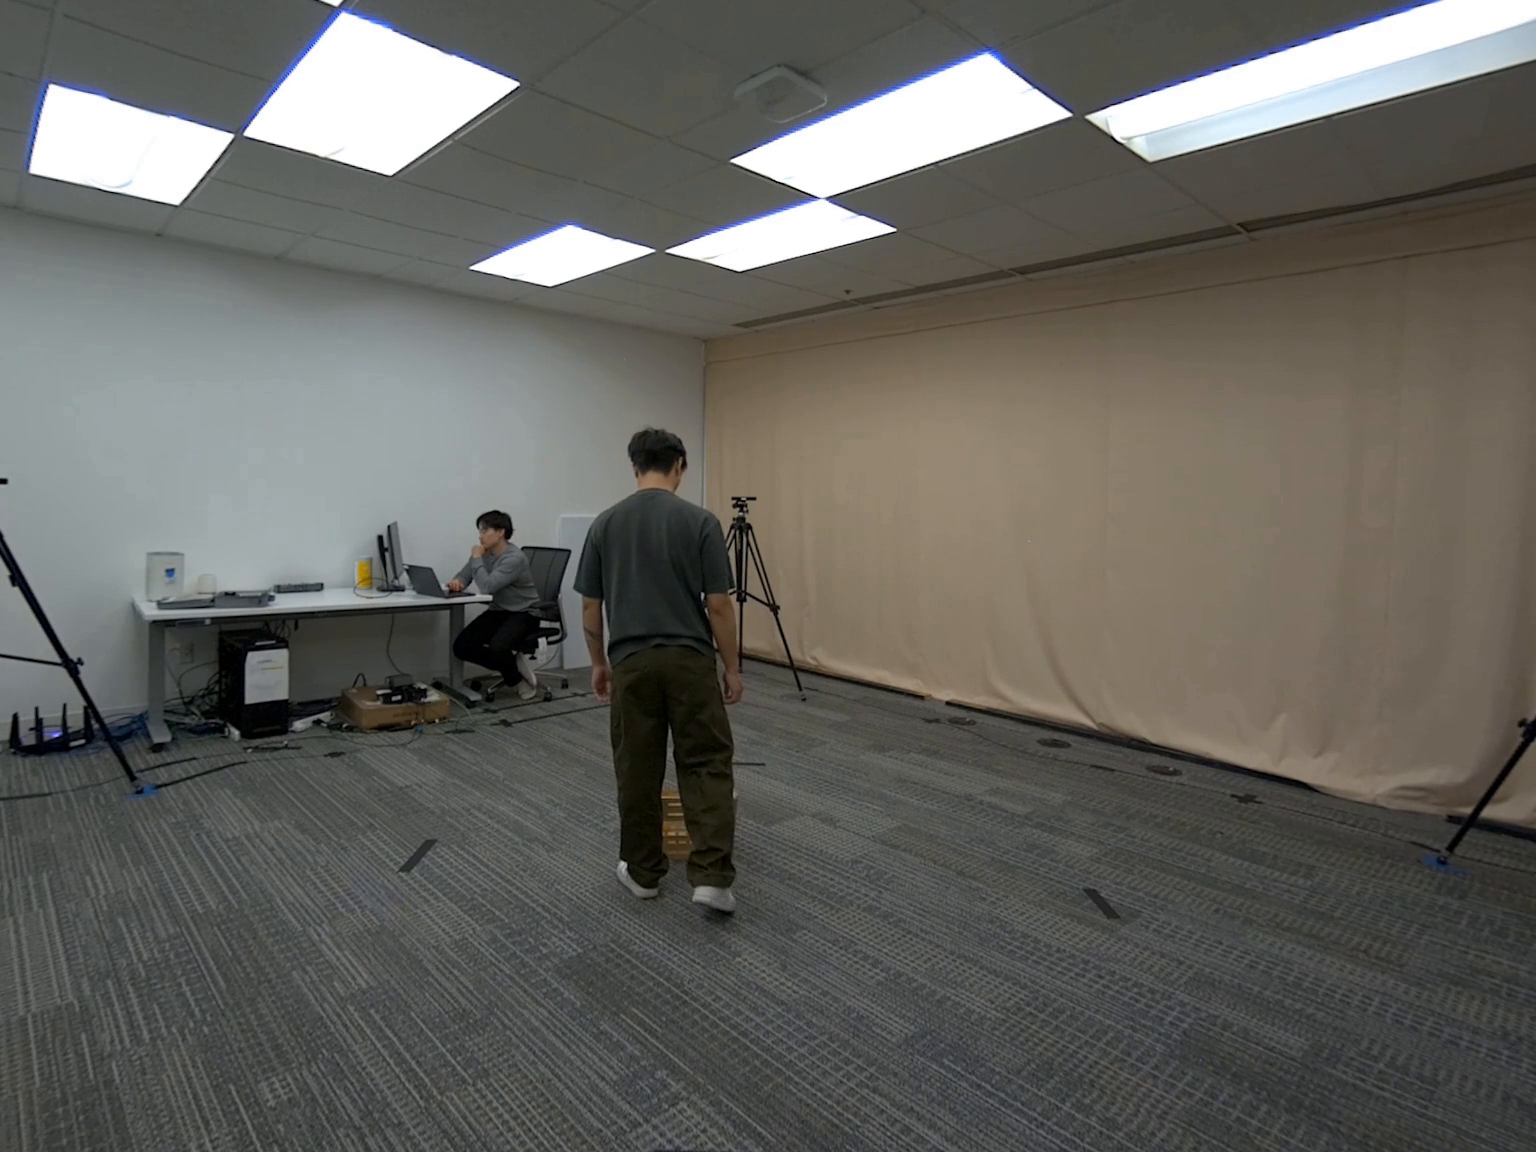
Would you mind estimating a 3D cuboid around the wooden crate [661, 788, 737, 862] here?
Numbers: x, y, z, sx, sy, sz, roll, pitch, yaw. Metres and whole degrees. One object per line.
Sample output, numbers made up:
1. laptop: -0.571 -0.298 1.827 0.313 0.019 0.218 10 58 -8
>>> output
1. wooden crate: -0.301 0.954 3.333 0.323 0.272 0.304 1 4 -6
